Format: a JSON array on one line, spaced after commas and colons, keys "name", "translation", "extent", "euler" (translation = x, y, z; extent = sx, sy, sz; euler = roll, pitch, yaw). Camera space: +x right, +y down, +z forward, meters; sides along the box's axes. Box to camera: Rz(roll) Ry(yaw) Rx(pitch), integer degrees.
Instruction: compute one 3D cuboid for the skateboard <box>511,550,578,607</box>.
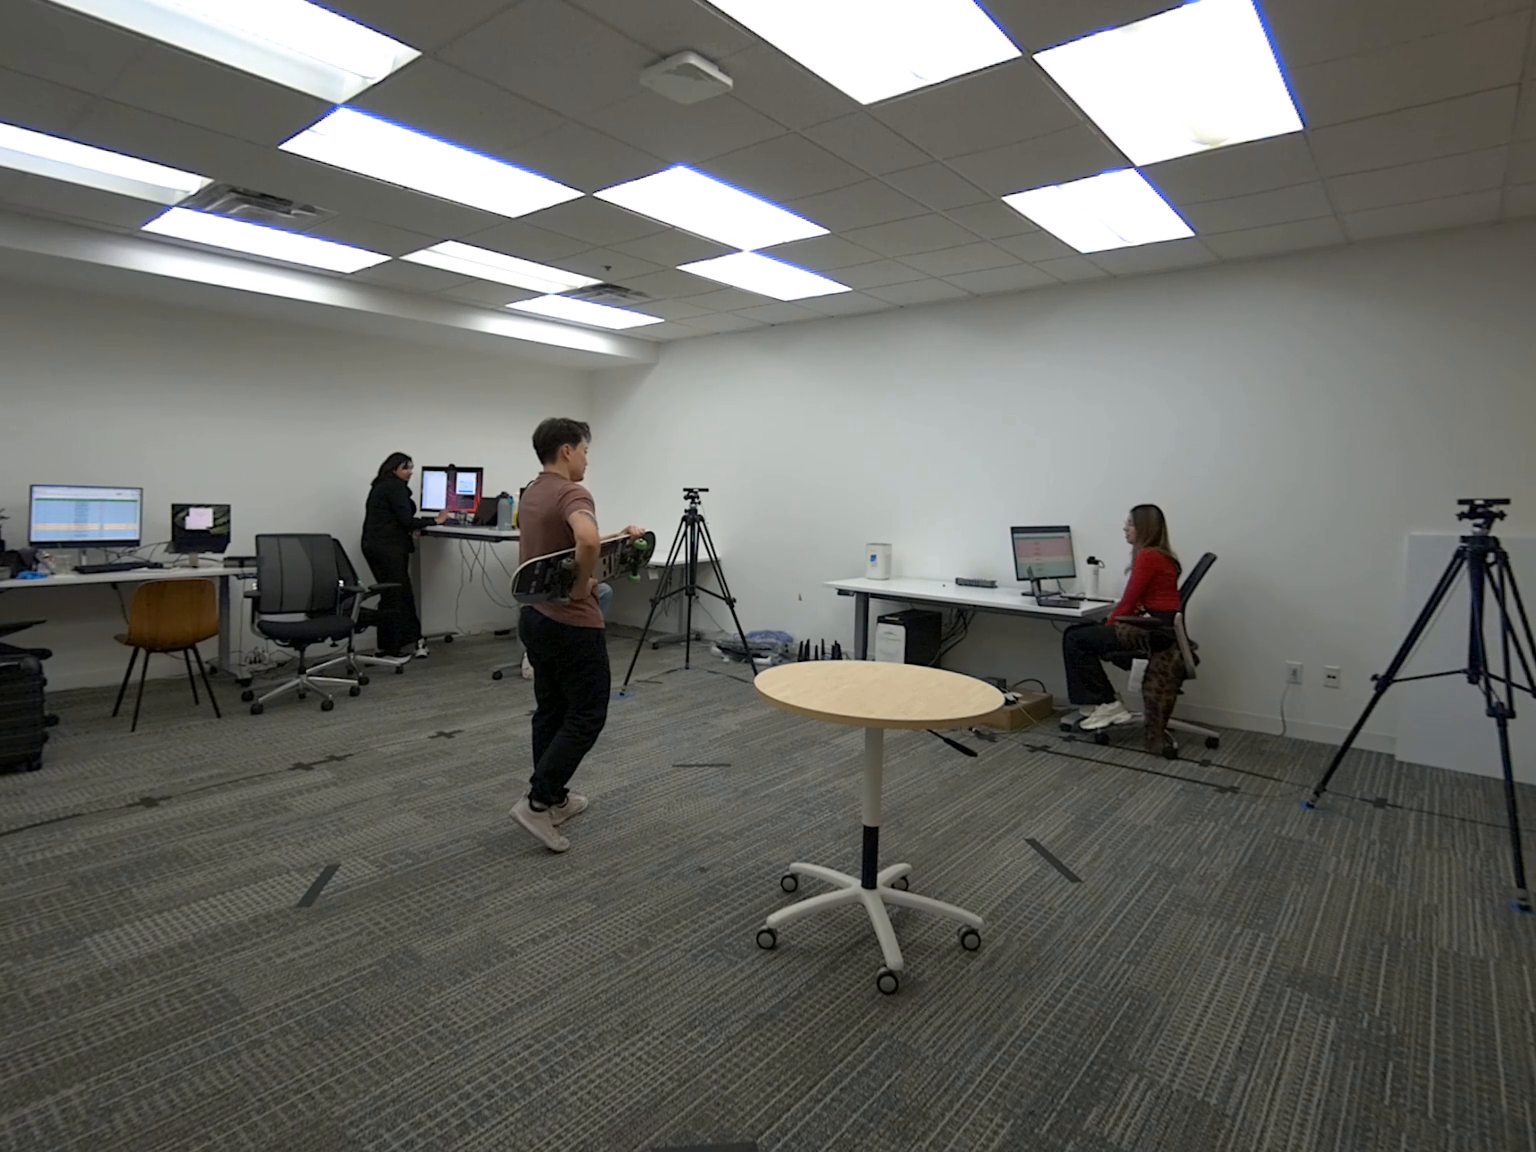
[{"name": "skateboard", "translation": [-0.679, -0.030, 3.349], "extent": [0.114, 0.191, 0.770], "euler": [25, 25, 25]}]
